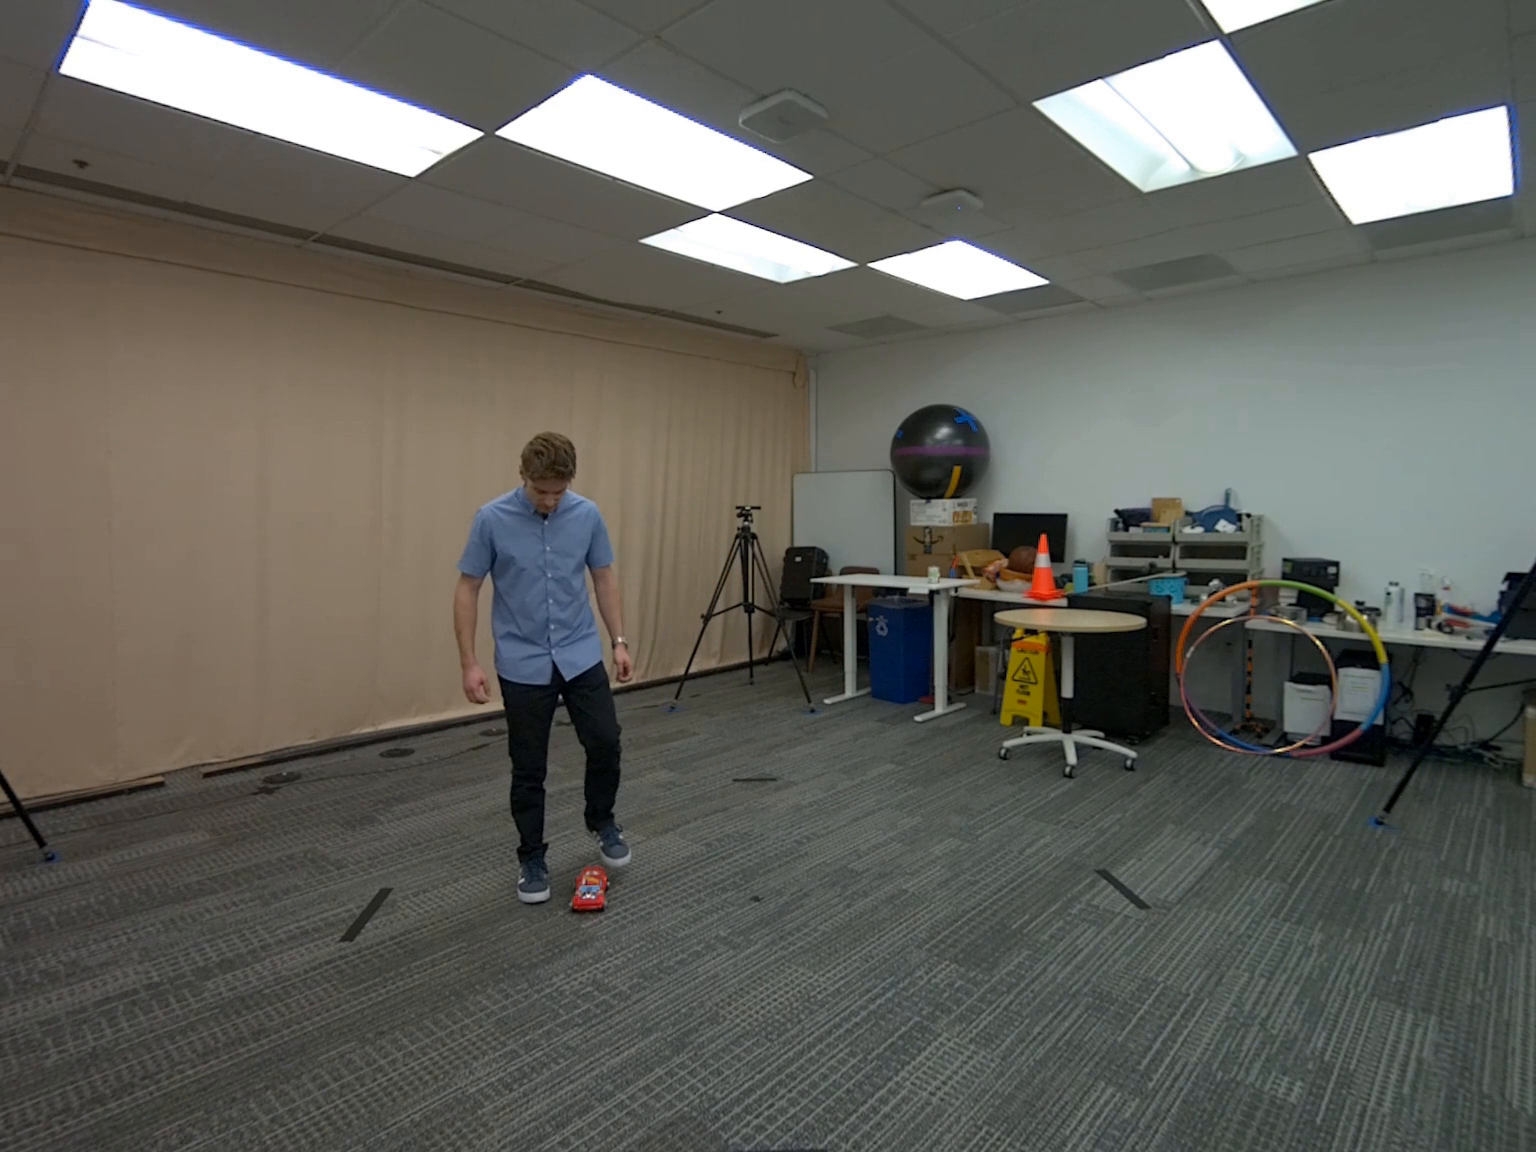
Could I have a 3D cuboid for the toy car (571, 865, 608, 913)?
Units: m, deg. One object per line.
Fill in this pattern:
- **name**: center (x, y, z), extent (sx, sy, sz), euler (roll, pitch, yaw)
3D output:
- **toy car**: center (-0.631, 1.110, 2.995), extent (0.129, 0.082, 0.258), euler (-2, 15, -7)
